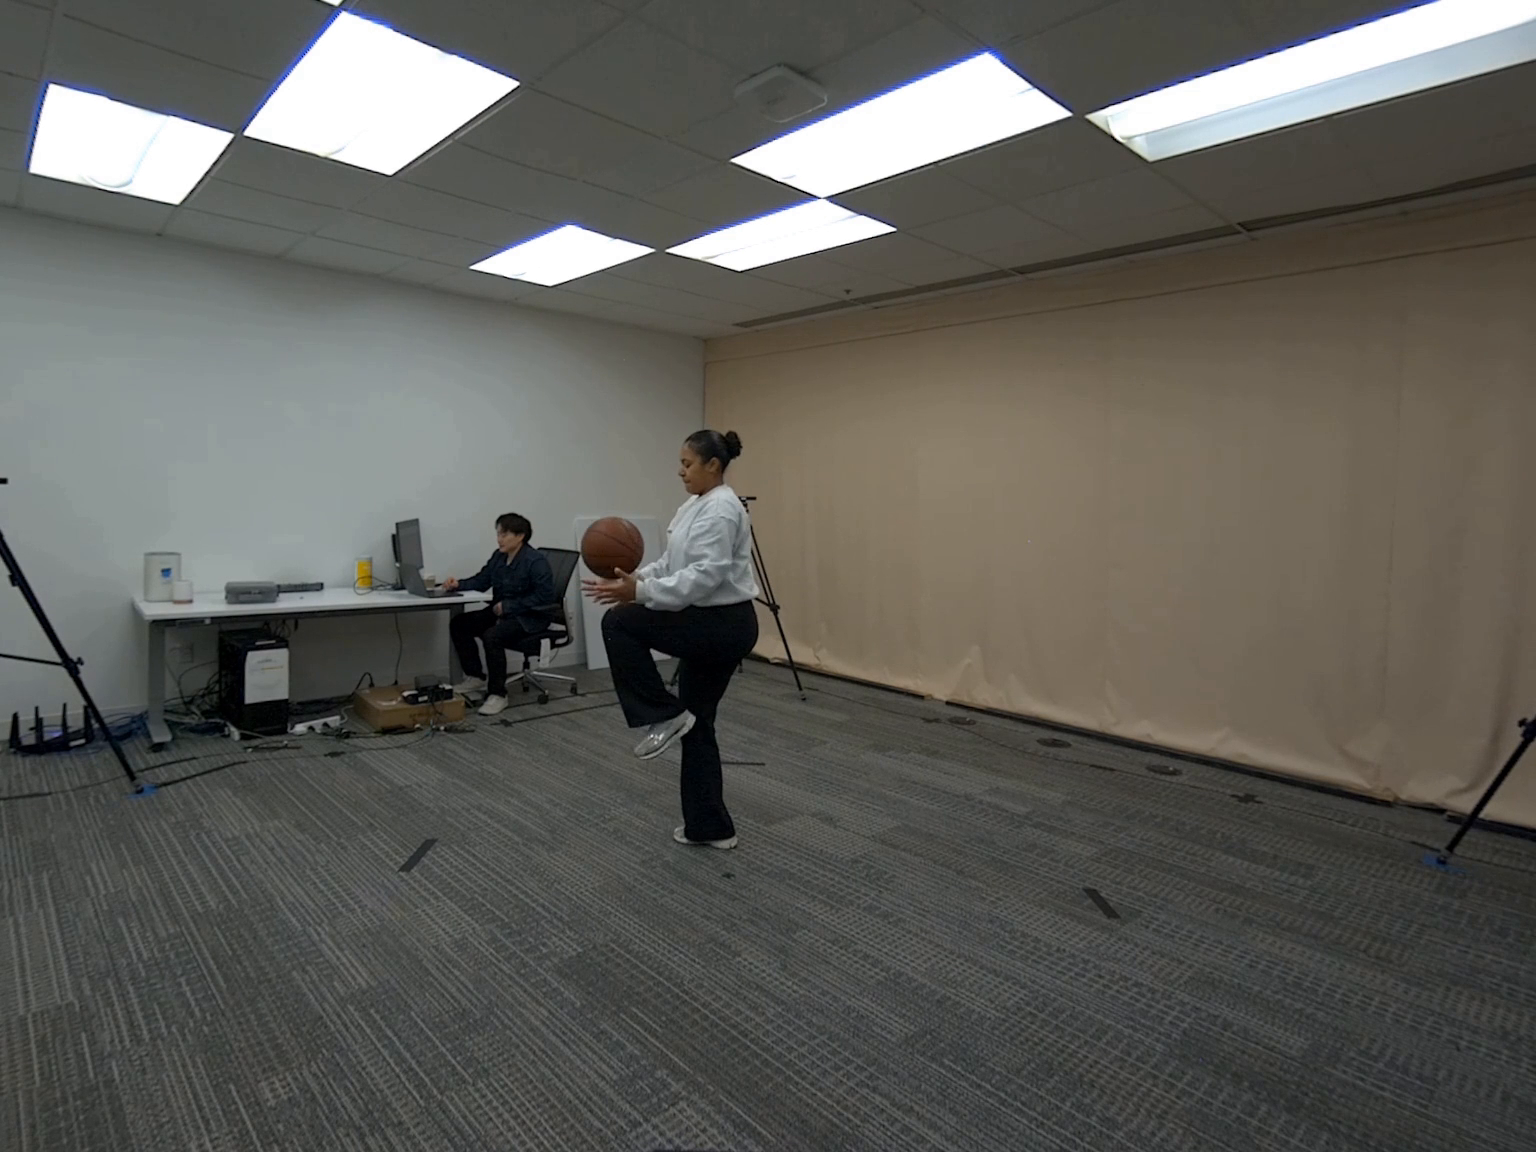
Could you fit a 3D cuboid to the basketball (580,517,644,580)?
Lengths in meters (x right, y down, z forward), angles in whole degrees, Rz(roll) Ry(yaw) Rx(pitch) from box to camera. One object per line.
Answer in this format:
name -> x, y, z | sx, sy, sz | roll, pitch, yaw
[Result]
basketball -> -0.601, -0.081, 3.200 | 0.236, 0.235, 0.237 | 1, 4, -1
